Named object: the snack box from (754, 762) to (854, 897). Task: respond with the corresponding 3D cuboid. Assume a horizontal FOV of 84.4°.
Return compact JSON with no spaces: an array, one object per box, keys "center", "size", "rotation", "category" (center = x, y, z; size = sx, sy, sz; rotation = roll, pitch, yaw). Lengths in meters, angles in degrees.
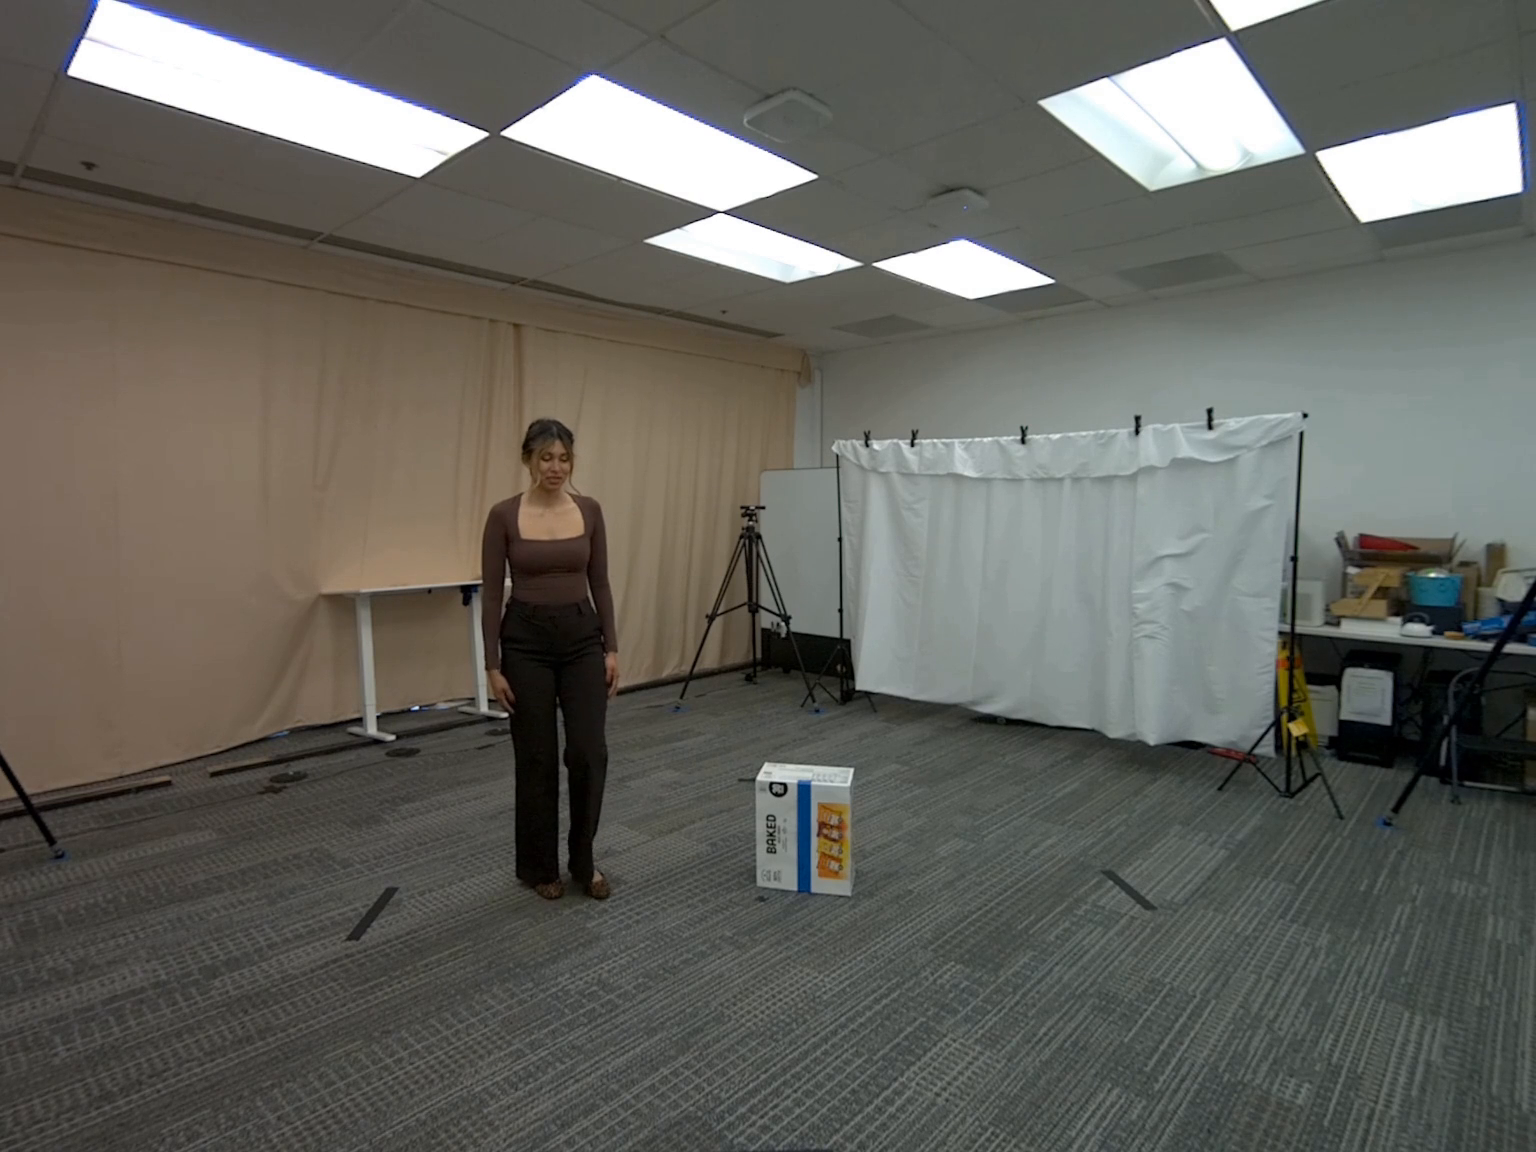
[{"center":[0.148,0.928,3.110],"size":[0.345,0.404,0.203],"rotation":[1,4,13],"category":"snack box"}]
